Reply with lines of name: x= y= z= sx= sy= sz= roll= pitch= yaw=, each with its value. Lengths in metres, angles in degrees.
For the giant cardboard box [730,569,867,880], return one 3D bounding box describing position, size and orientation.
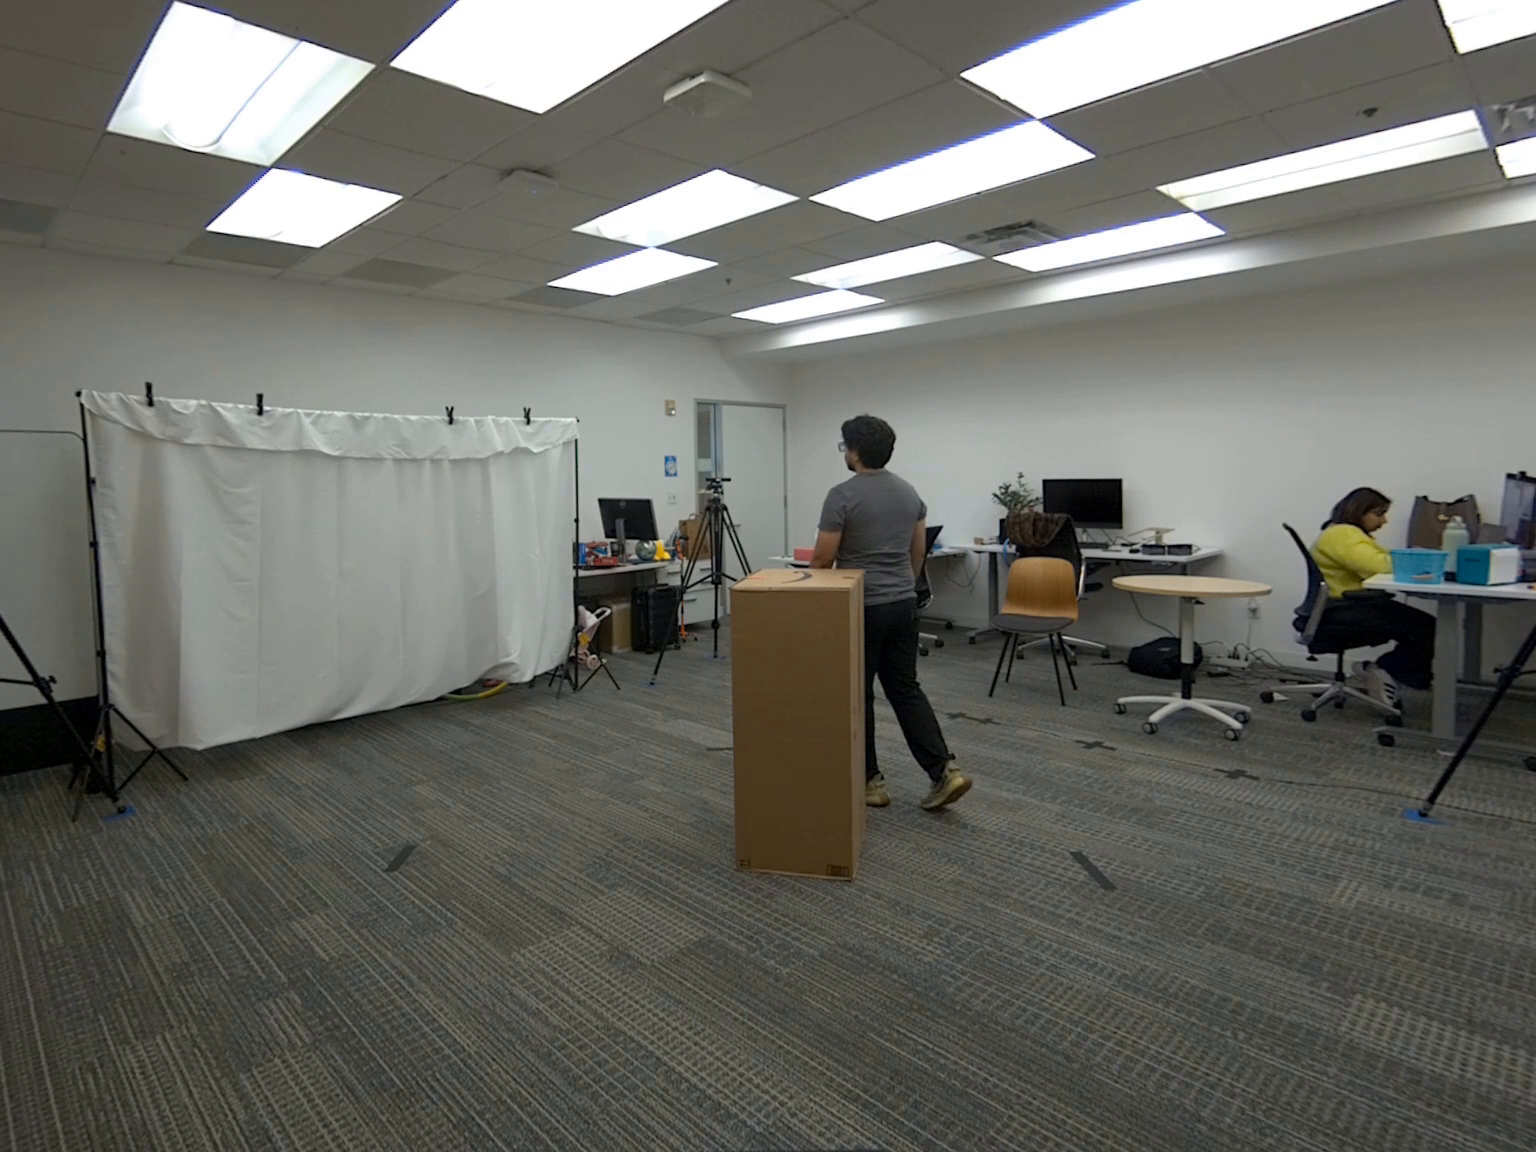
giant cardboard box: x=0.126 y=0.513 z=3.236 sx=0.432 sy=1.022 sz=0.572 roll=0 pitch=5 yaw=13
